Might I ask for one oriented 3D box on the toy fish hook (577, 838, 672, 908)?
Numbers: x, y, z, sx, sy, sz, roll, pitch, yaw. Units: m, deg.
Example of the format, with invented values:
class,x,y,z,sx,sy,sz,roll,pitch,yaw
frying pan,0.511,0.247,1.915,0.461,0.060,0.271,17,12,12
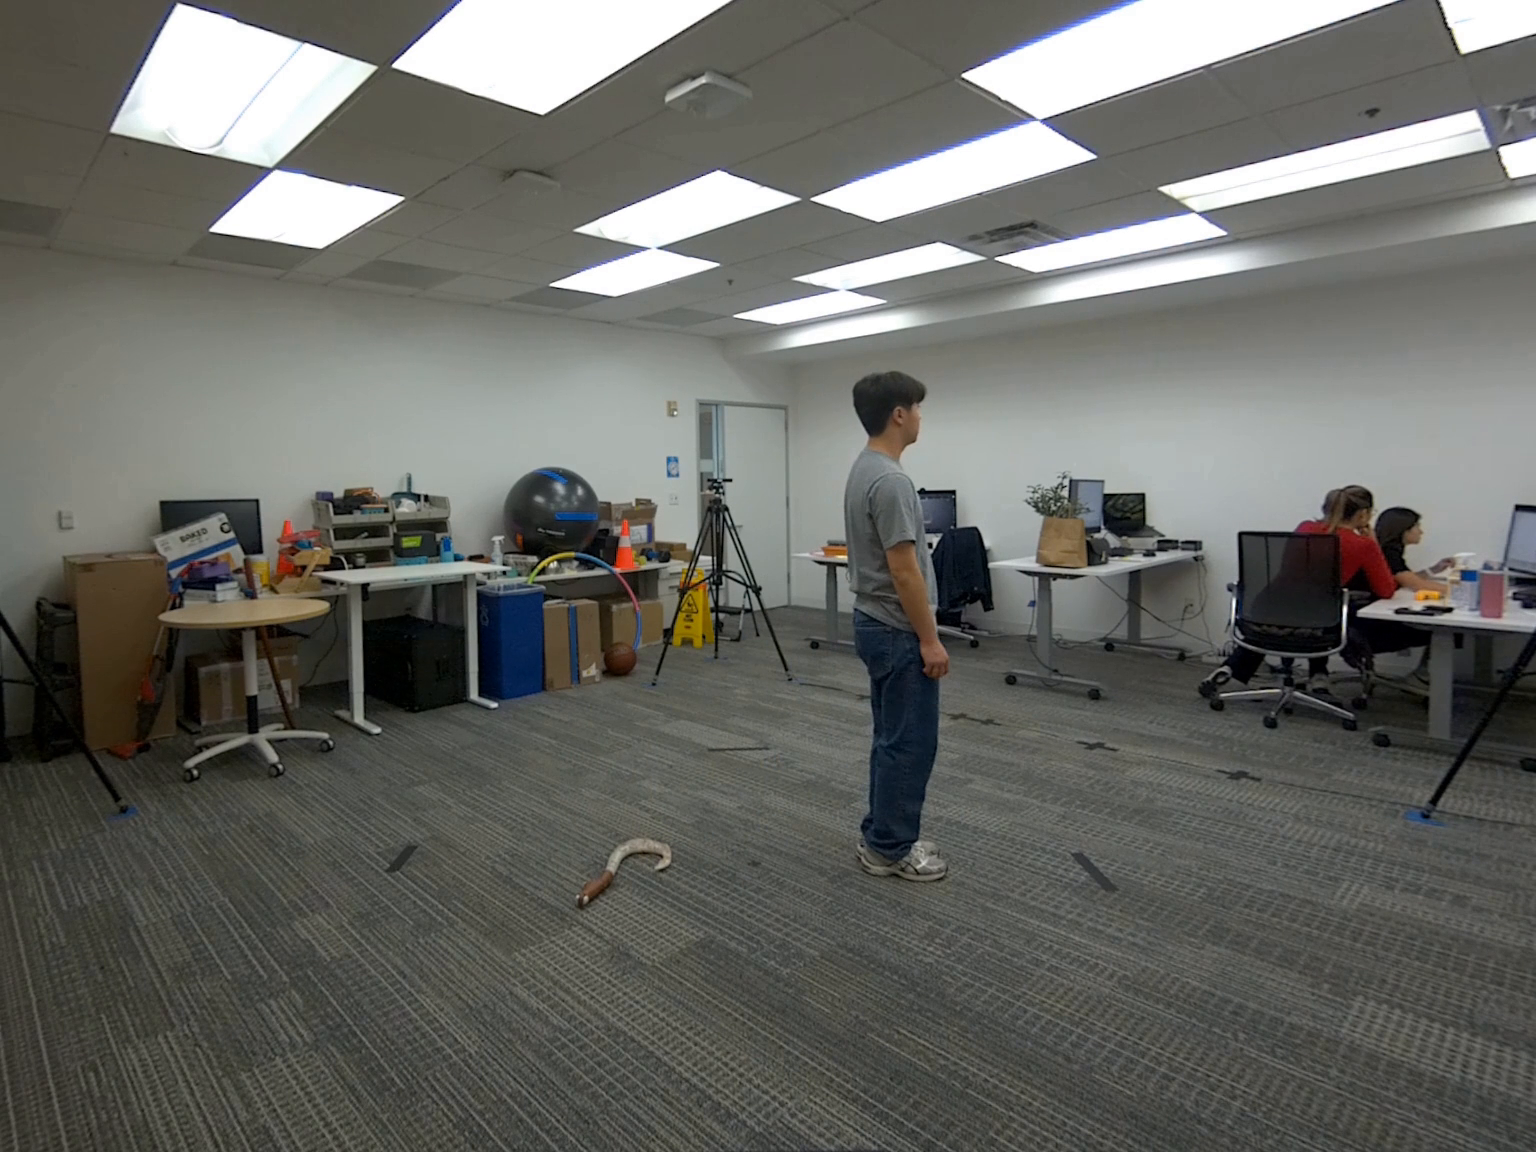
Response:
class,x,y,z,sx,sy,sz,roll,pitch,yaw
toy fish hook,-0.493,1.041,3.011,0.228,0.048,0.501,0,7,16
